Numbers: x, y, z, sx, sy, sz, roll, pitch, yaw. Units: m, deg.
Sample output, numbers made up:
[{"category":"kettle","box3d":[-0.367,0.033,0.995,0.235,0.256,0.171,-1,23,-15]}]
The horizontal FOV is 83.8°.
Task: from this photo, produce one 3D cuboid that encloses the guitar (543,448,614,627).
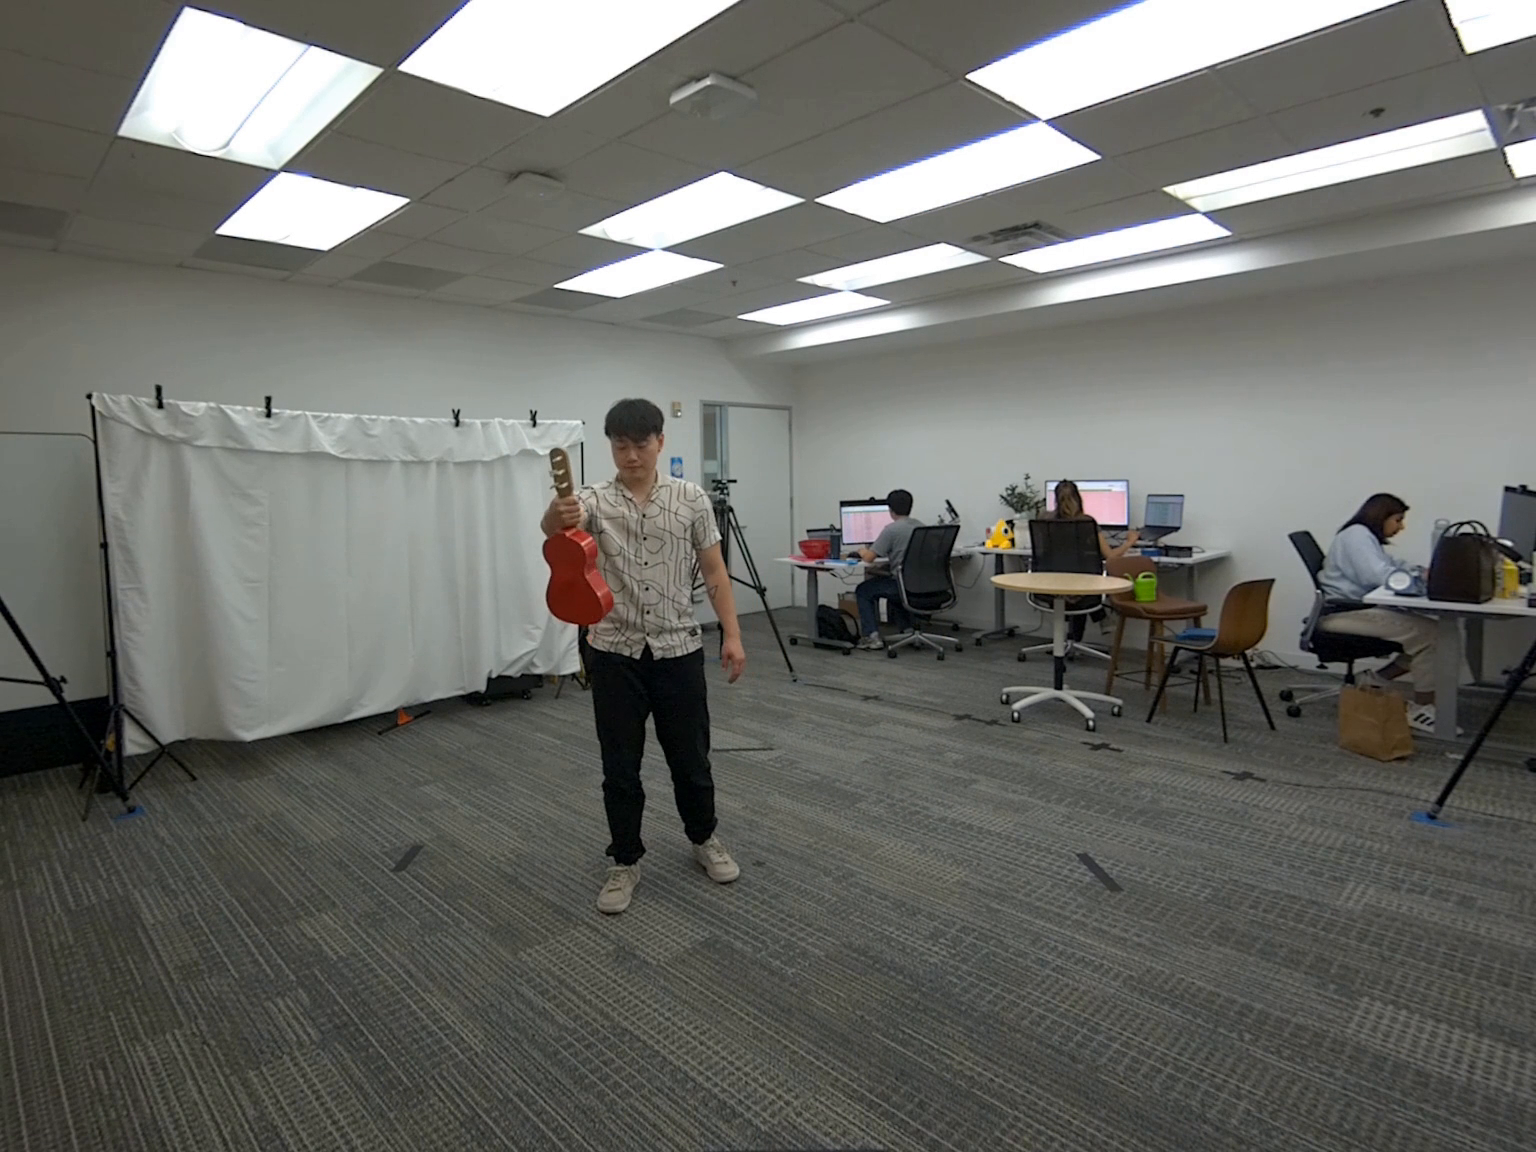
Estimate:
[{"category":"guitar","box3d":[-0.562,-0.097,2.362,0.197,0.489,0.070,-3,18,27]}]
